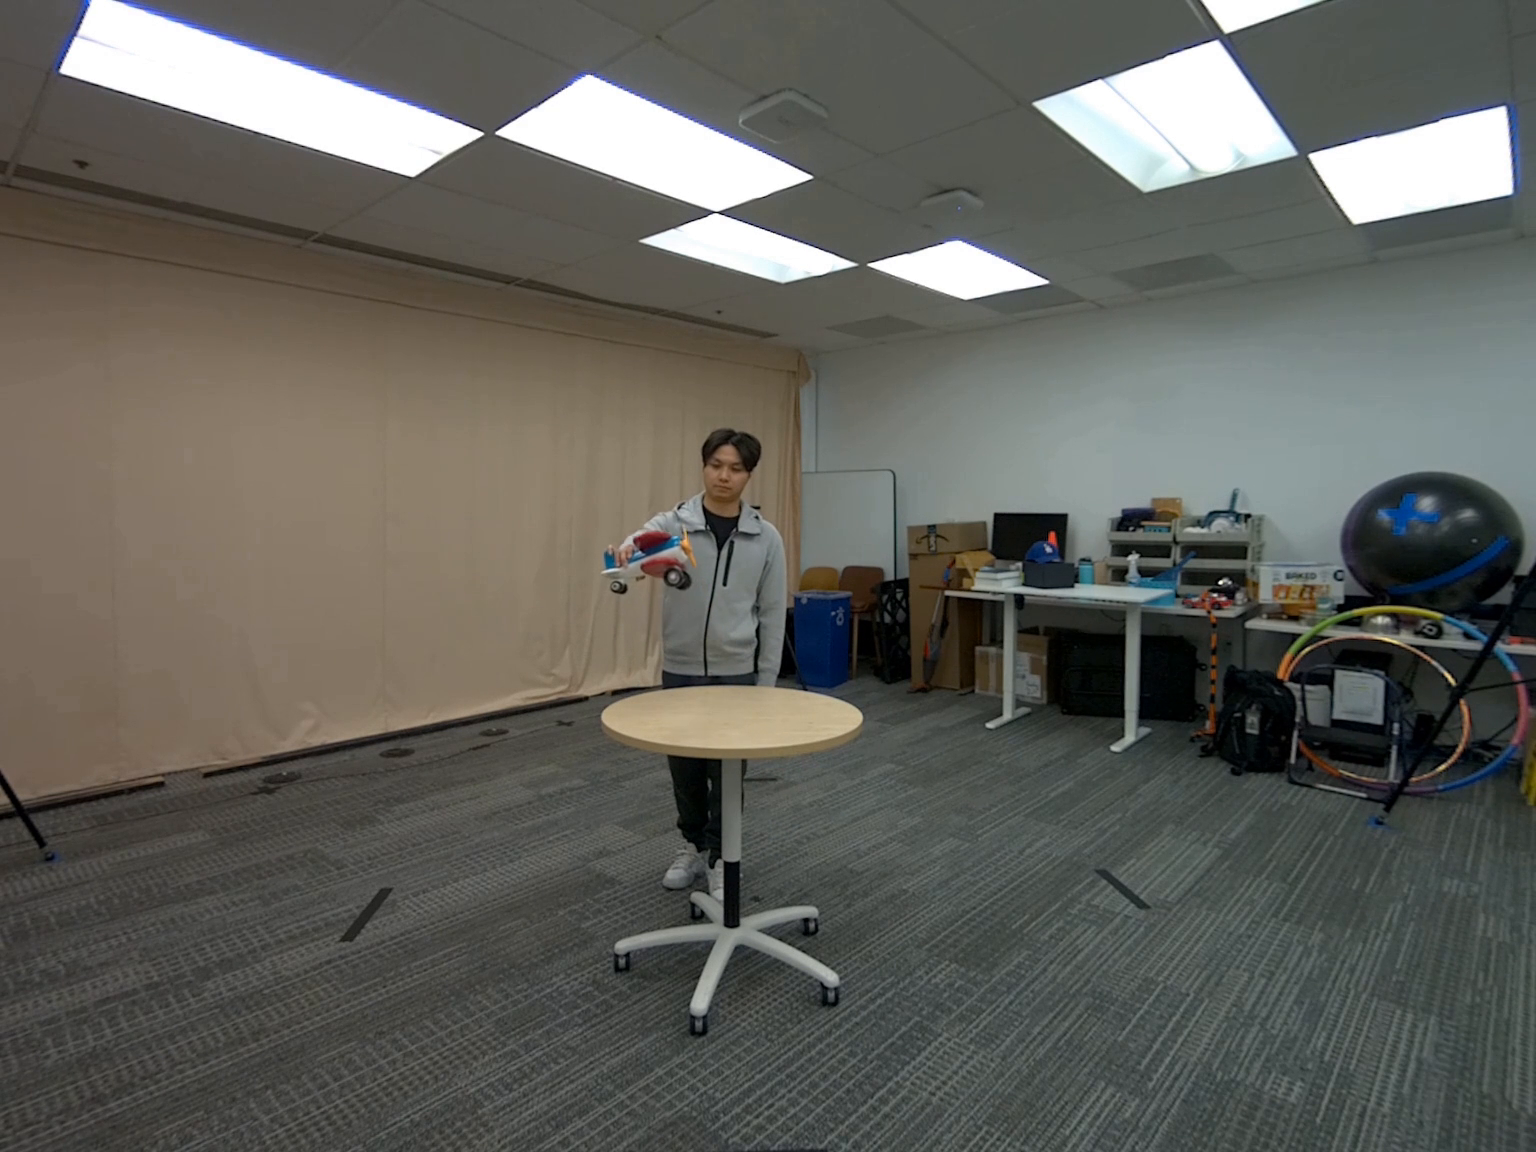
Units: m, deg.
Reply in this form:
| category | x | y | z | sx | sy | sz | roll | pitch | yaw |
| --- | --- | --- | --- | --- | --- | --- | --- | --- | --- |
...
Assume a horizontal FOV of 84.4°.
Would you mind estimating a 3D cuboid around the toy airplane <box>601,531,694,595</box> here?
| category | x | y | z | sx | sy | sz | roll | pitch | yaw |
| --- | --- | --- | --- | --- | --- | --- | --- | --- | --- |
| toy airplane | -0.336 | -0.035 | 2.377 | 0.255 | 0.157 | 0.254 | 1 | -8 | -16 |
